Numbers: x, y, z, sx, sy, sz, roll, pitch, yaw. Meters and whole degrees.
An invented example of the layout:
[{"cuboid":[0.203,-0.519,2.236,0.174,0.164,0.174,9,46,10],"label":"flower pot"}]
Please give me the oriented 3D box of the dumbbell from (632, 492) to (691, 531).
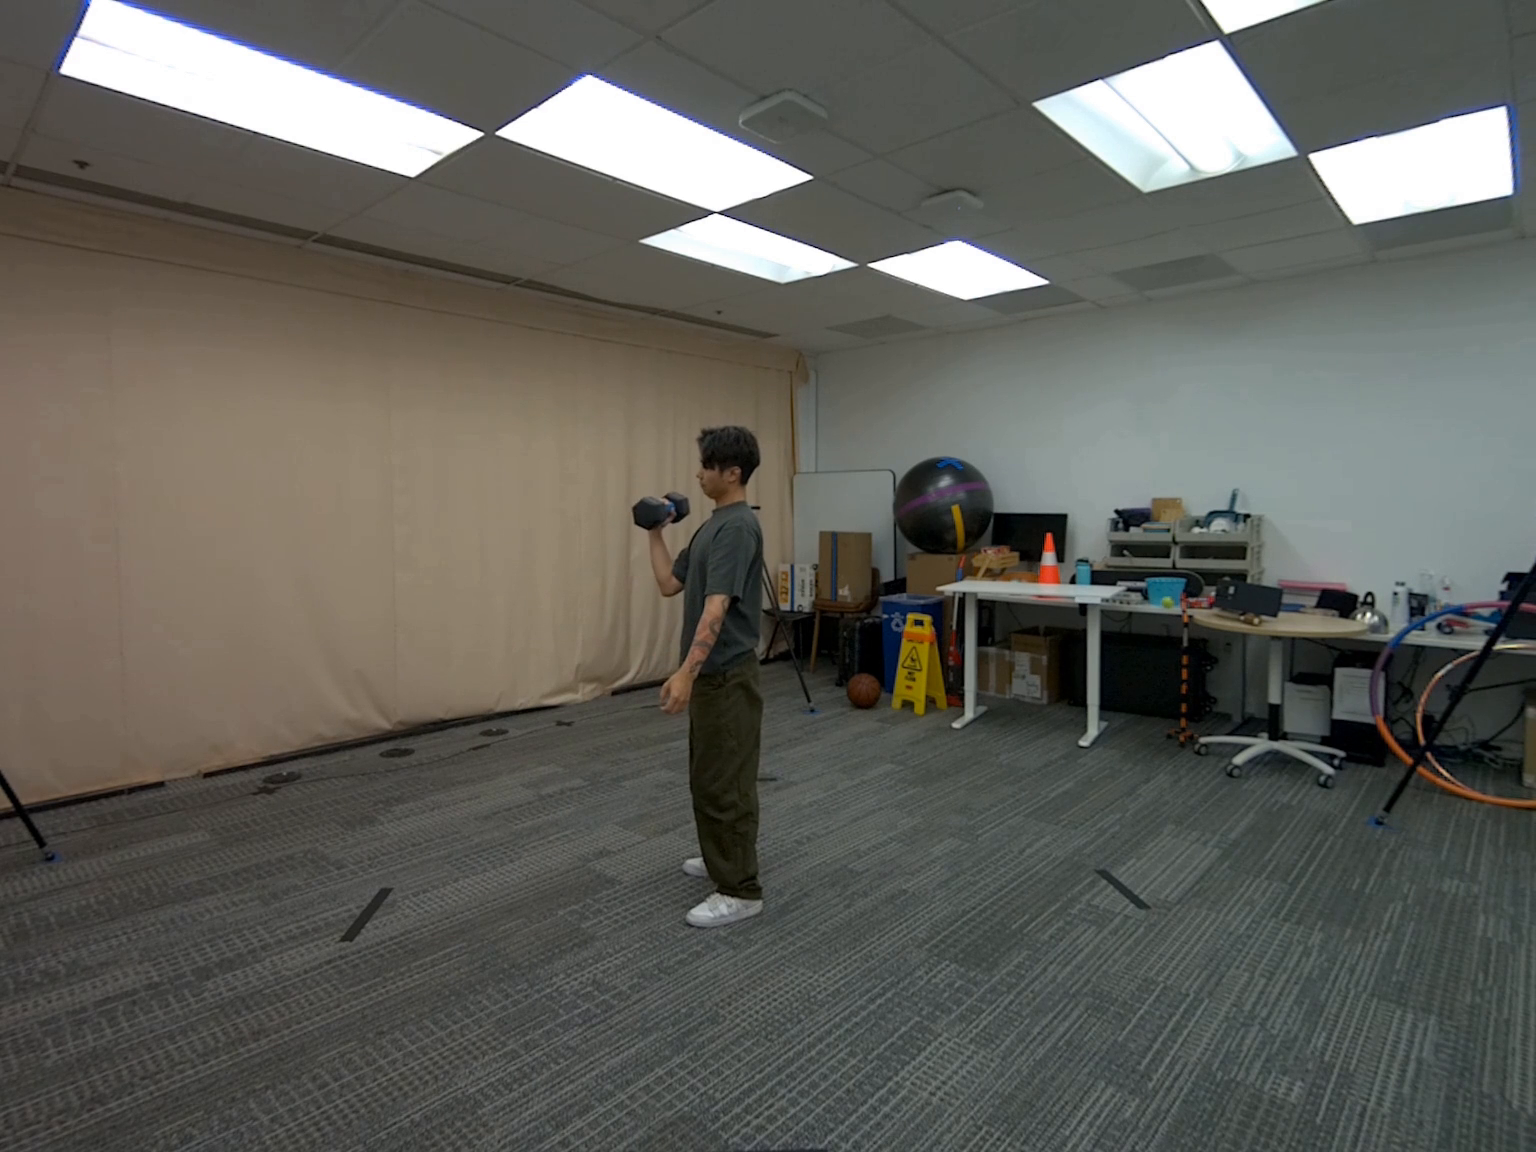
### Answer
[{"cuboid":[-0.402,-0.244,3.179,0.124,0.109,0.289,-37,-3,21],"label":"dumbbell"}]
